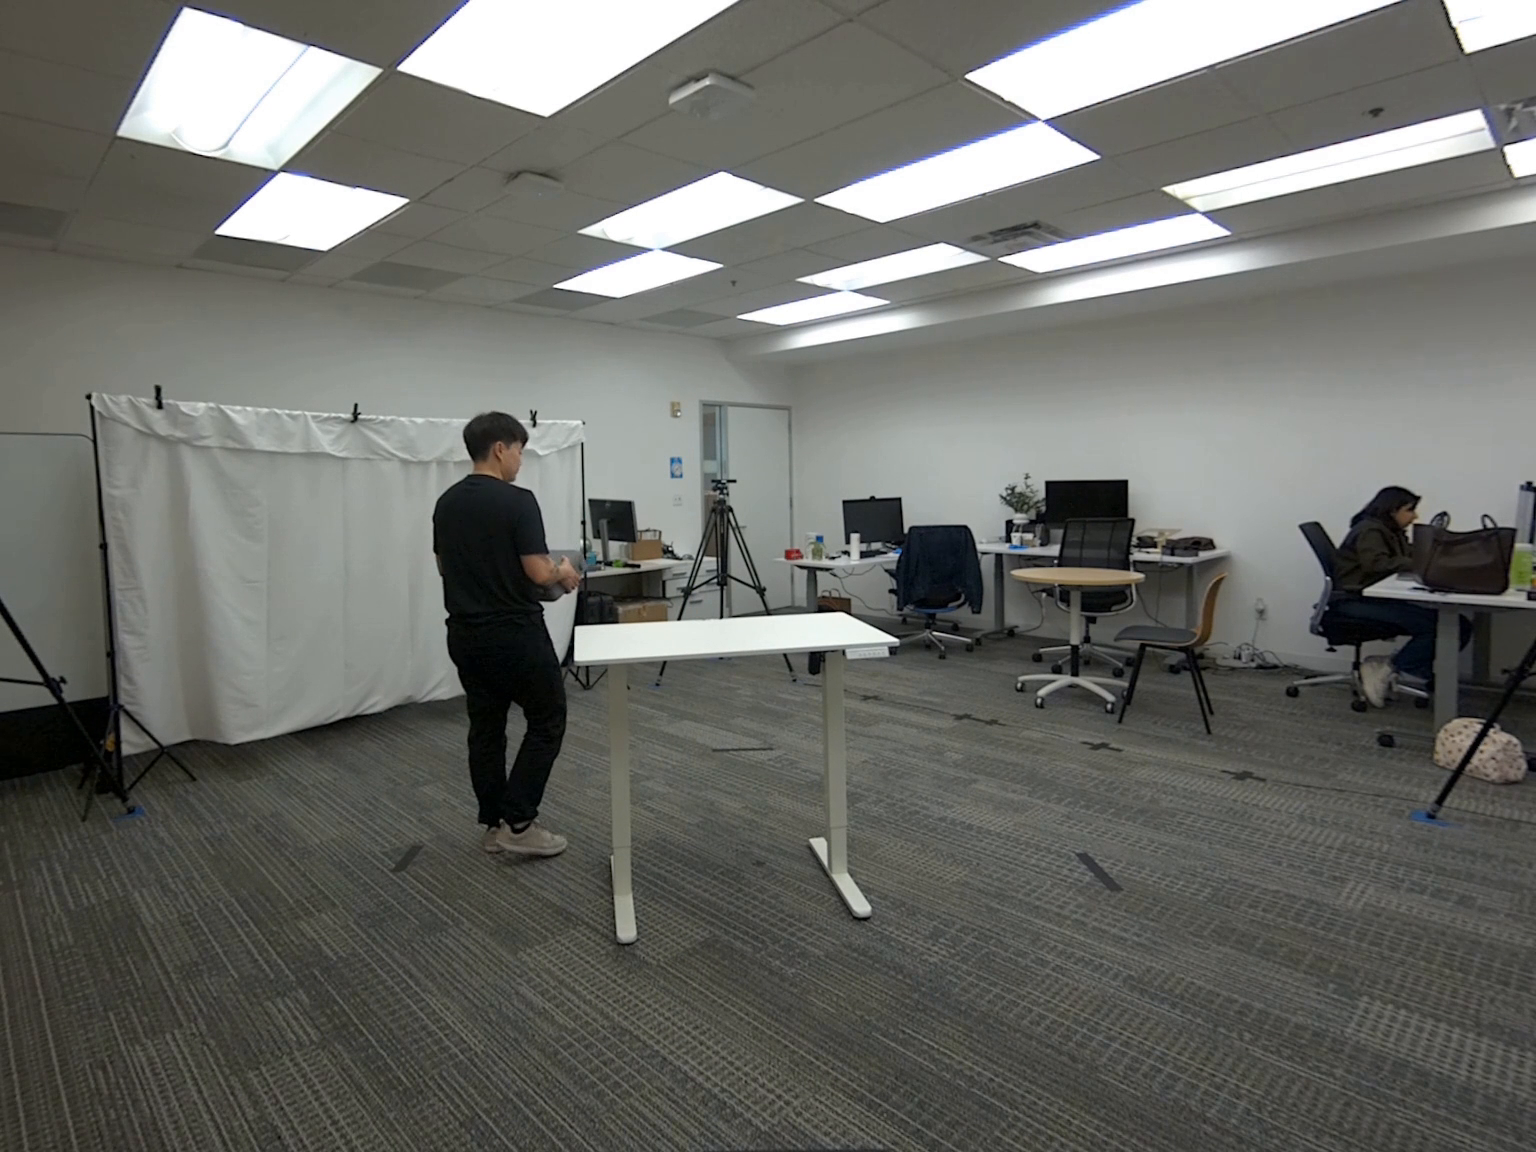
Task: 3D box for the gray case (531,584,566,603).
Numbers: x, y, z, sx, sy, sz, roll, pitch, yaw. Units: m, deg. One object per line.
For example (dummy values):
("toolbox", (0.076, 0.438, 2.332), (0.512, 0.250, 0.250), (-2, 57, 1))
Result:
("gray case", (-0.908, -0.010, 3.511), (0.264, 0.101, 0.261), (-1, 32, 34))
